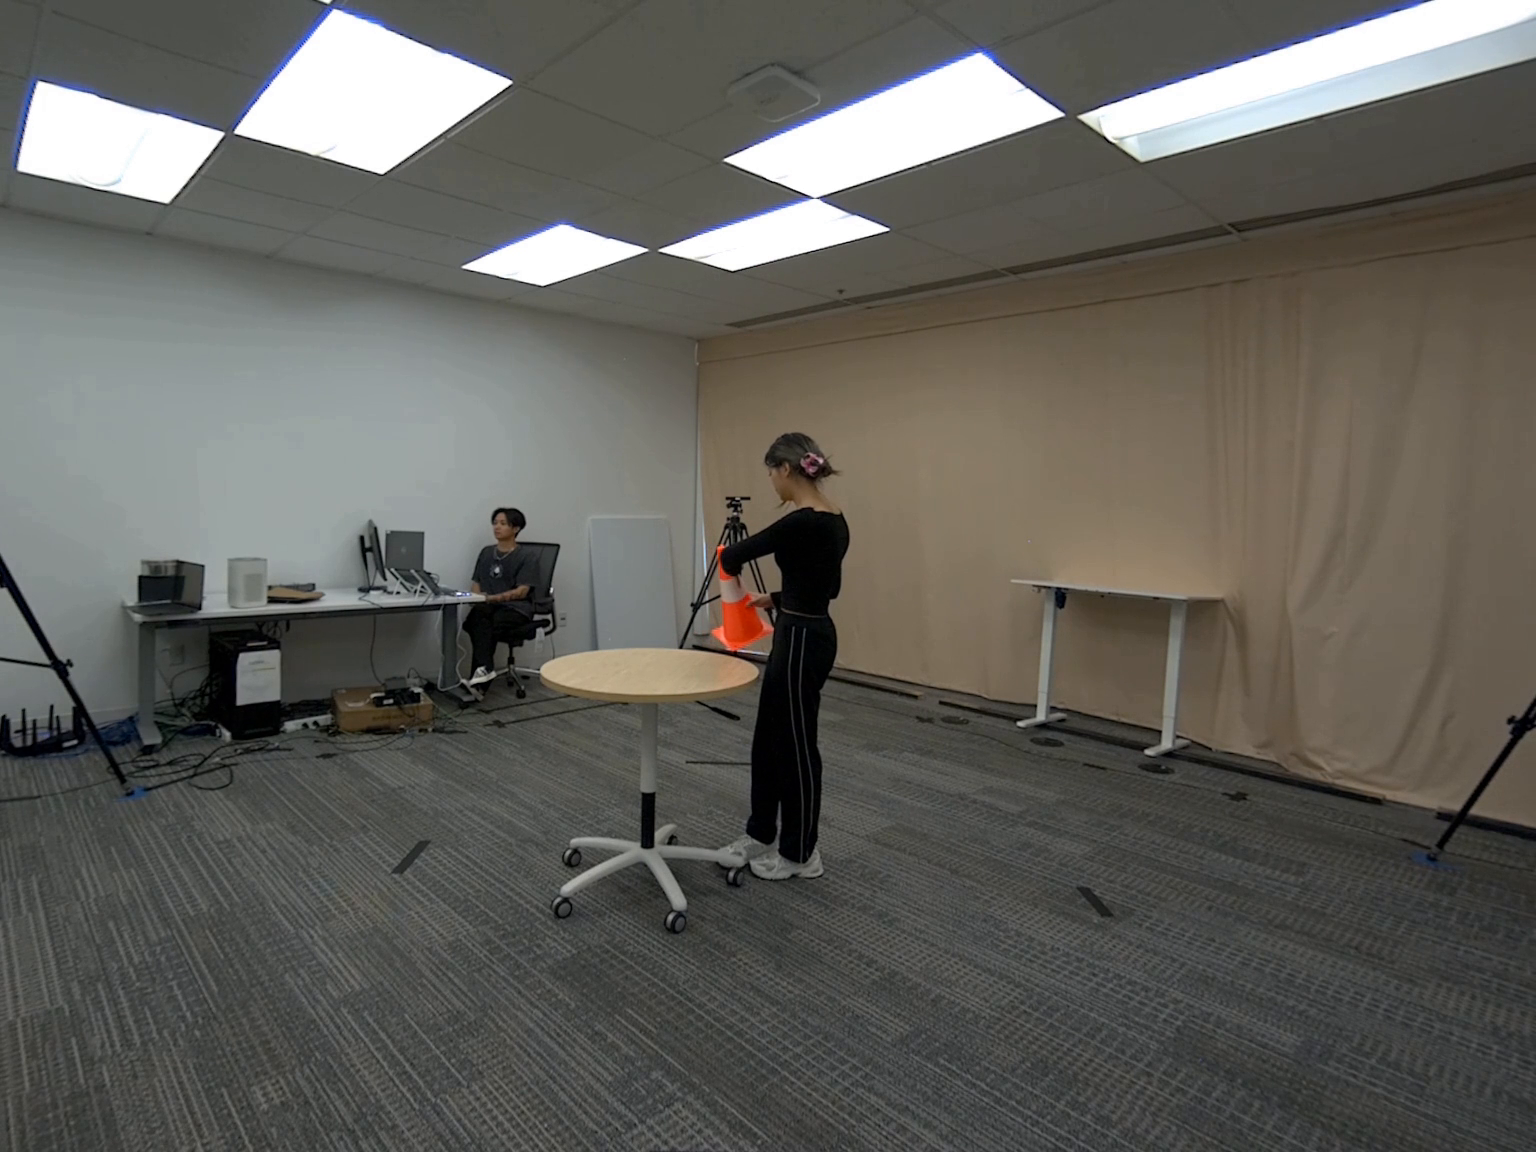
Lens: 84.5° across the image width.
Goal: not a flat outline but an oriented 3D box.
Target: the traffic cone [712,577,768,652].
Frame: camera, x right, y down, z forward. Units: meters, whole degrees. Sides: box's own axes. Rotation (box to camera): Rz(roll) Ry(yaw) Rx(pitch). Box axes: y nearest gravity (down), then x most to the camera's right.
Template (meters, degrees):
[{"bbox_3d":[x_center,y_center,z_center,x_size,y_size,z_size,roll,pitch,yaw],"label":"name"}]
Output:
[{"bbox_3d":[-0.141,0.064,3.245,0.202,0.375,0.211,-22,27,-15],"label":"traffic cone"}]
